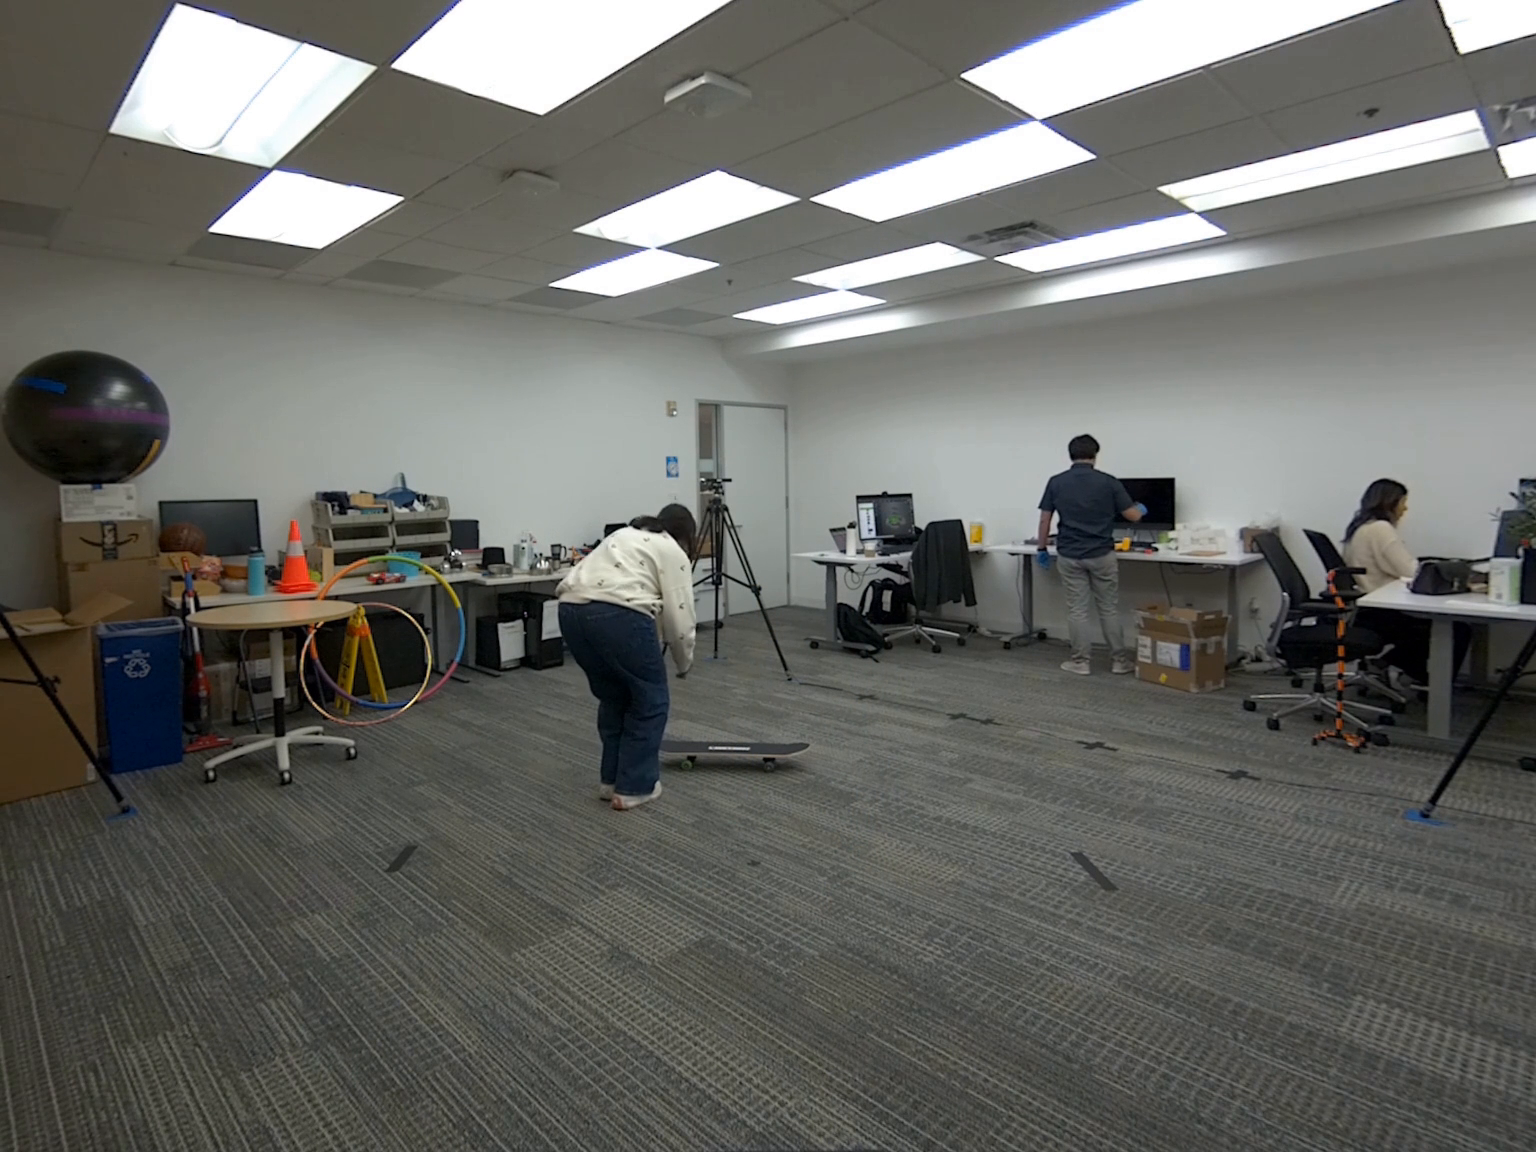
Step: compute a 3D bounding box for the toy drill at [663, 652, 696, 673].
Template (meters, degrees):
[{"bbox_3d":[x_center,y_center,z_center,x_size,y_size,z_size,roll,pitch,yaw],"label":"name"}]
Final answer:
[{"bbox_3d":[-0.423,0.384,4.041,0.145,0.062,0.168,-24,-9,-9],"label":"toy drill"}]
